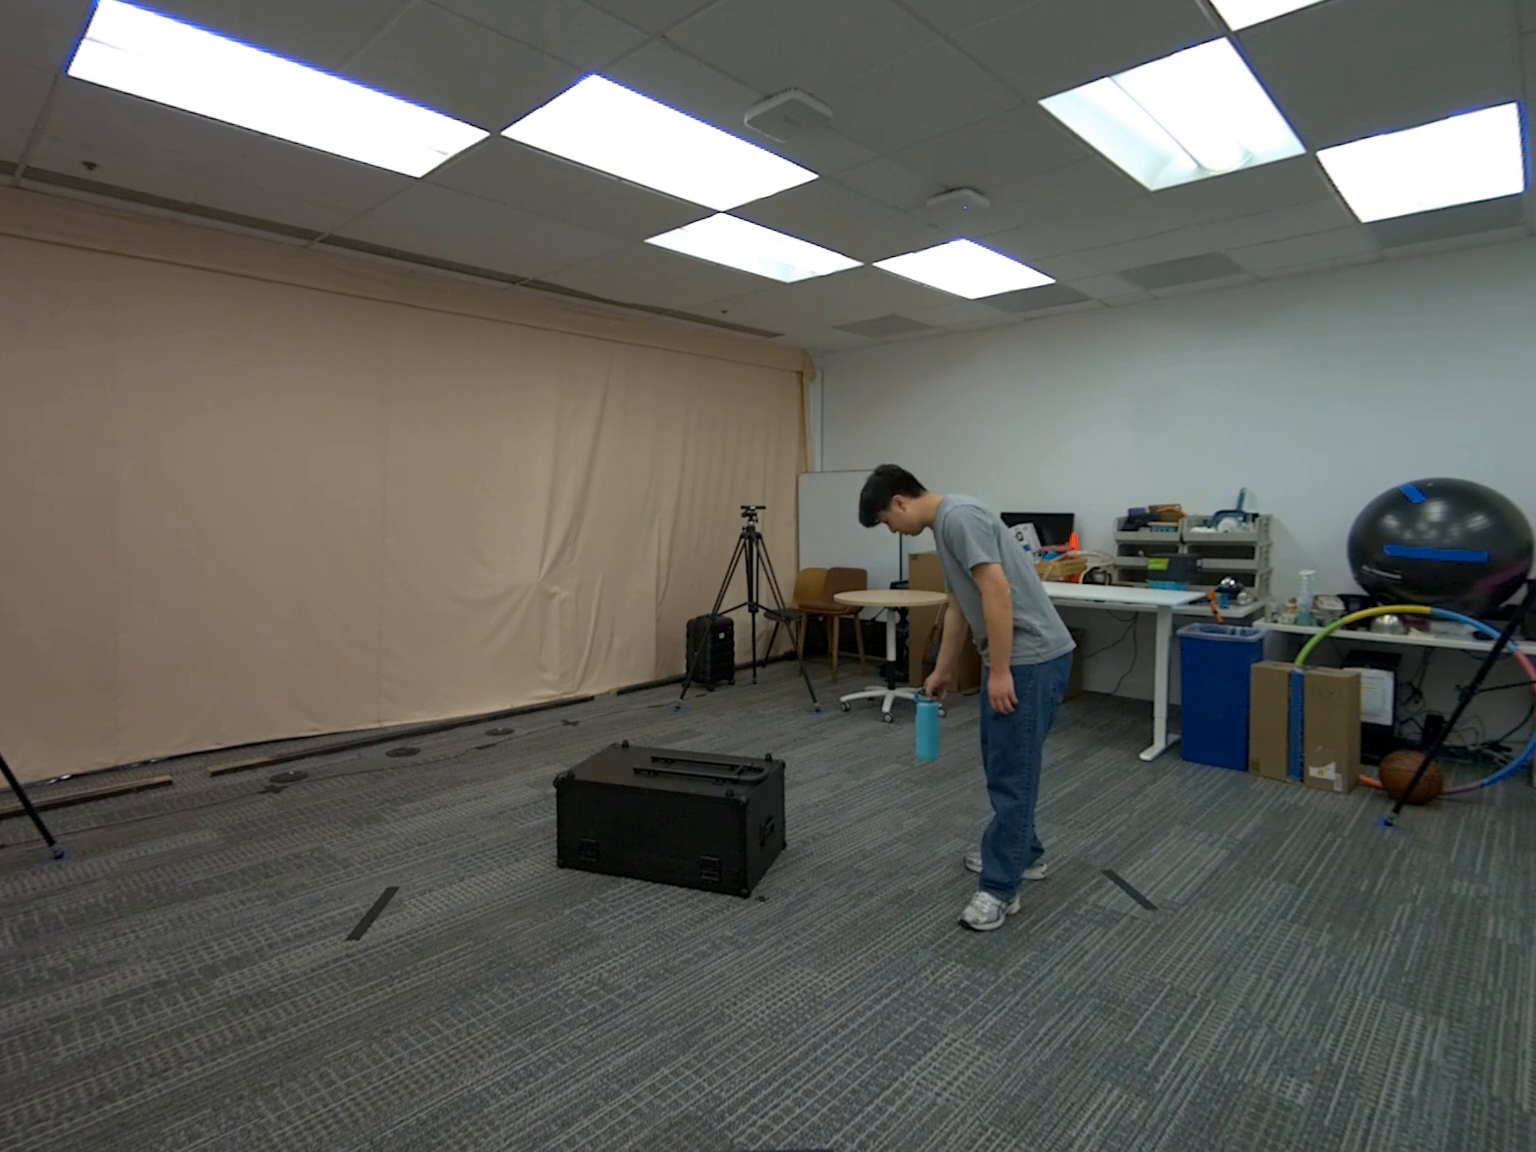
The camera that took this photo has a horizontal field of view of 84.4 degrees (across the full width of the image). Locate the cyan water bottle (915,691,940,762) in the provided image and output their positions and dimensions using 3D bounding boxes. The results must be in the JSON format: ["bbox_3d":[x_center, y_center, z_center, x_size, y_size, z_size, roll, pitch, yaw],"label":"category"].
[{"bbox_3d":[0.628,0.581,3.297,0.092,0.282,0.093,-3,5,-2],"label":"cyan water bottle"}]
